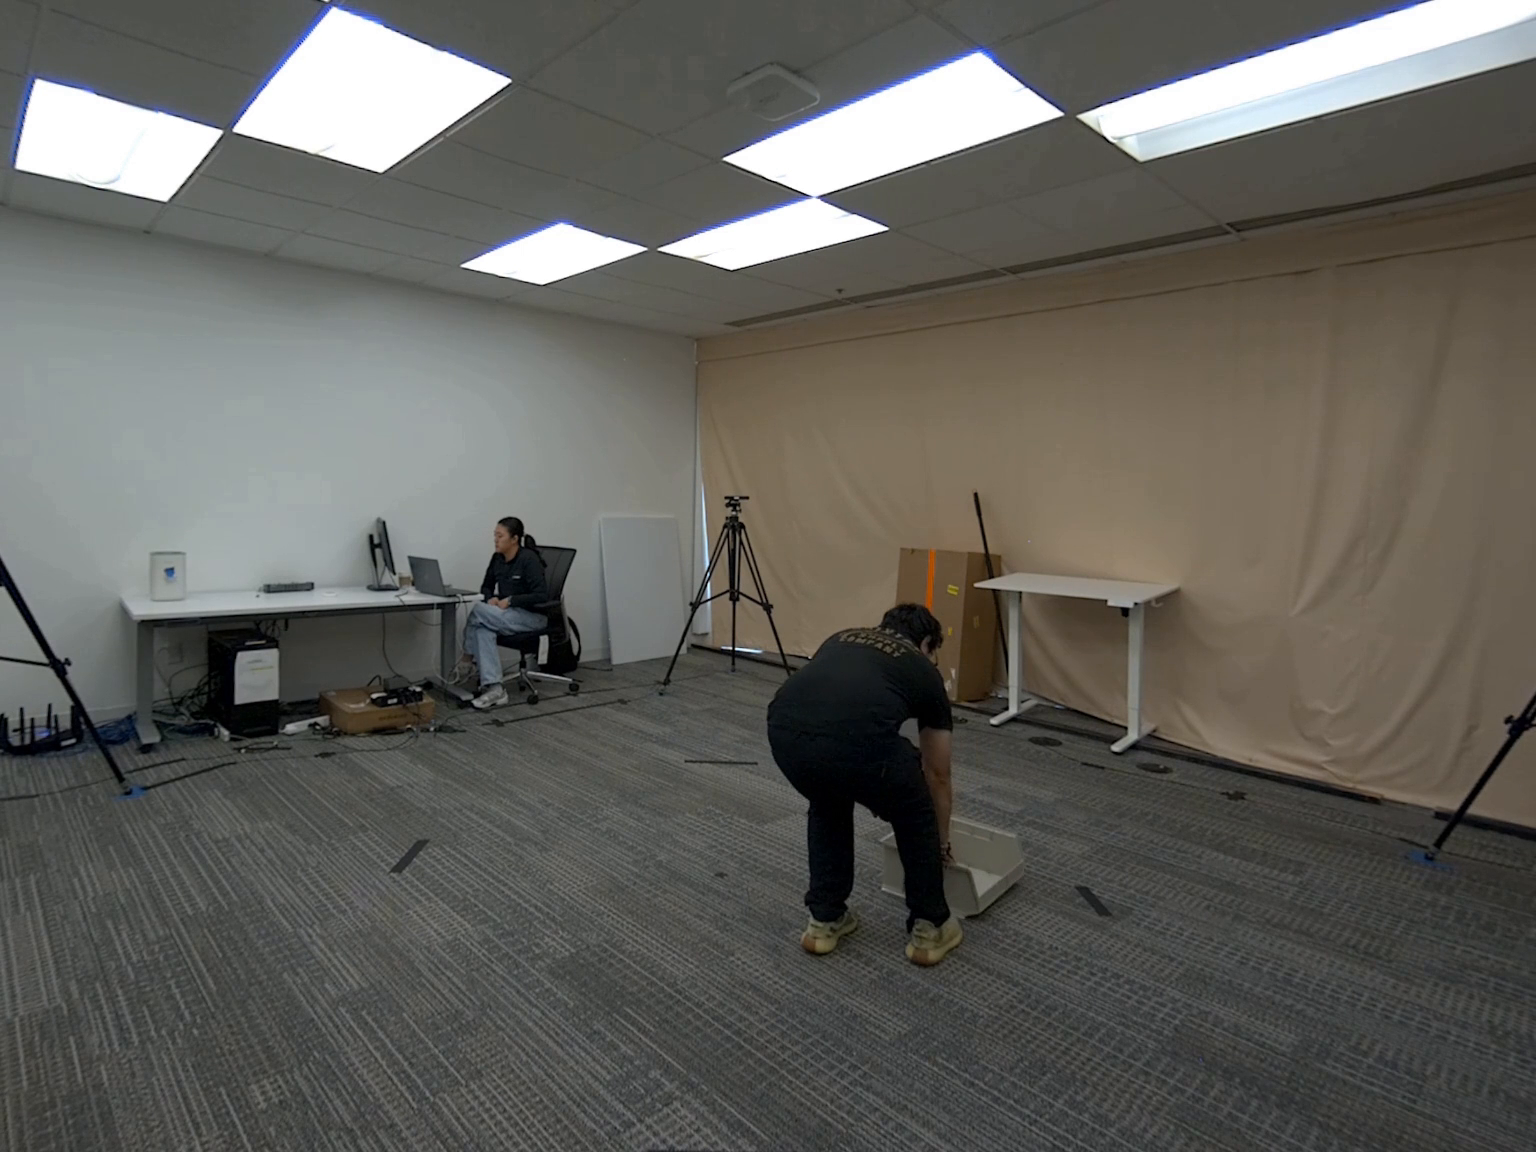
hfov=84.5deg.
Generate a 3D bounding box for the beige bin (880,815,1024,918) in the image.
[{"bbox_3d":[0.664,1.040,3.050,0.386,0.188,0.413,3,5,38],"label":"beige bin"}]
